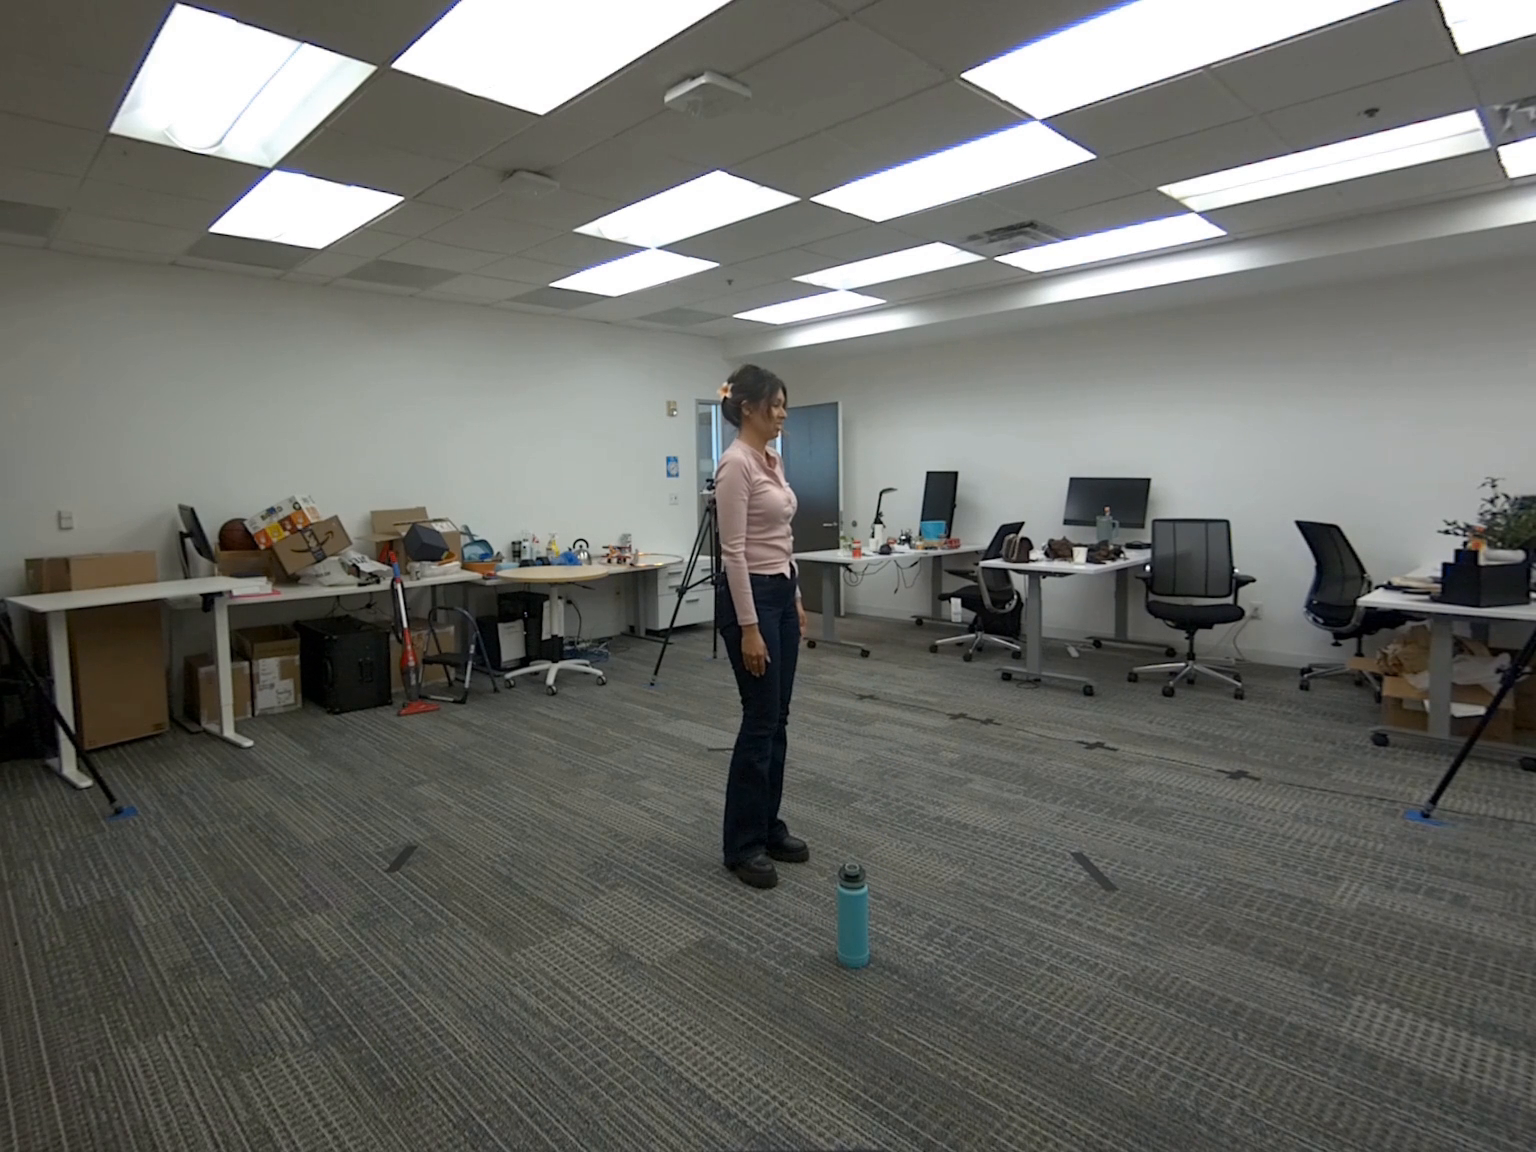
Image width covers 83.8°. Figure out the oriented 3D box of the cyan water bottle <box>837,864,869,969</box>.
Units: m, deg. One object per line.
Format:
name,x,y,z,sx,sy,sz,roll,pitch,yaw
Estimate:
cyan water bottle,0.251,0.971,2.469,0.092,0.283,0.092,-2,2,-2
